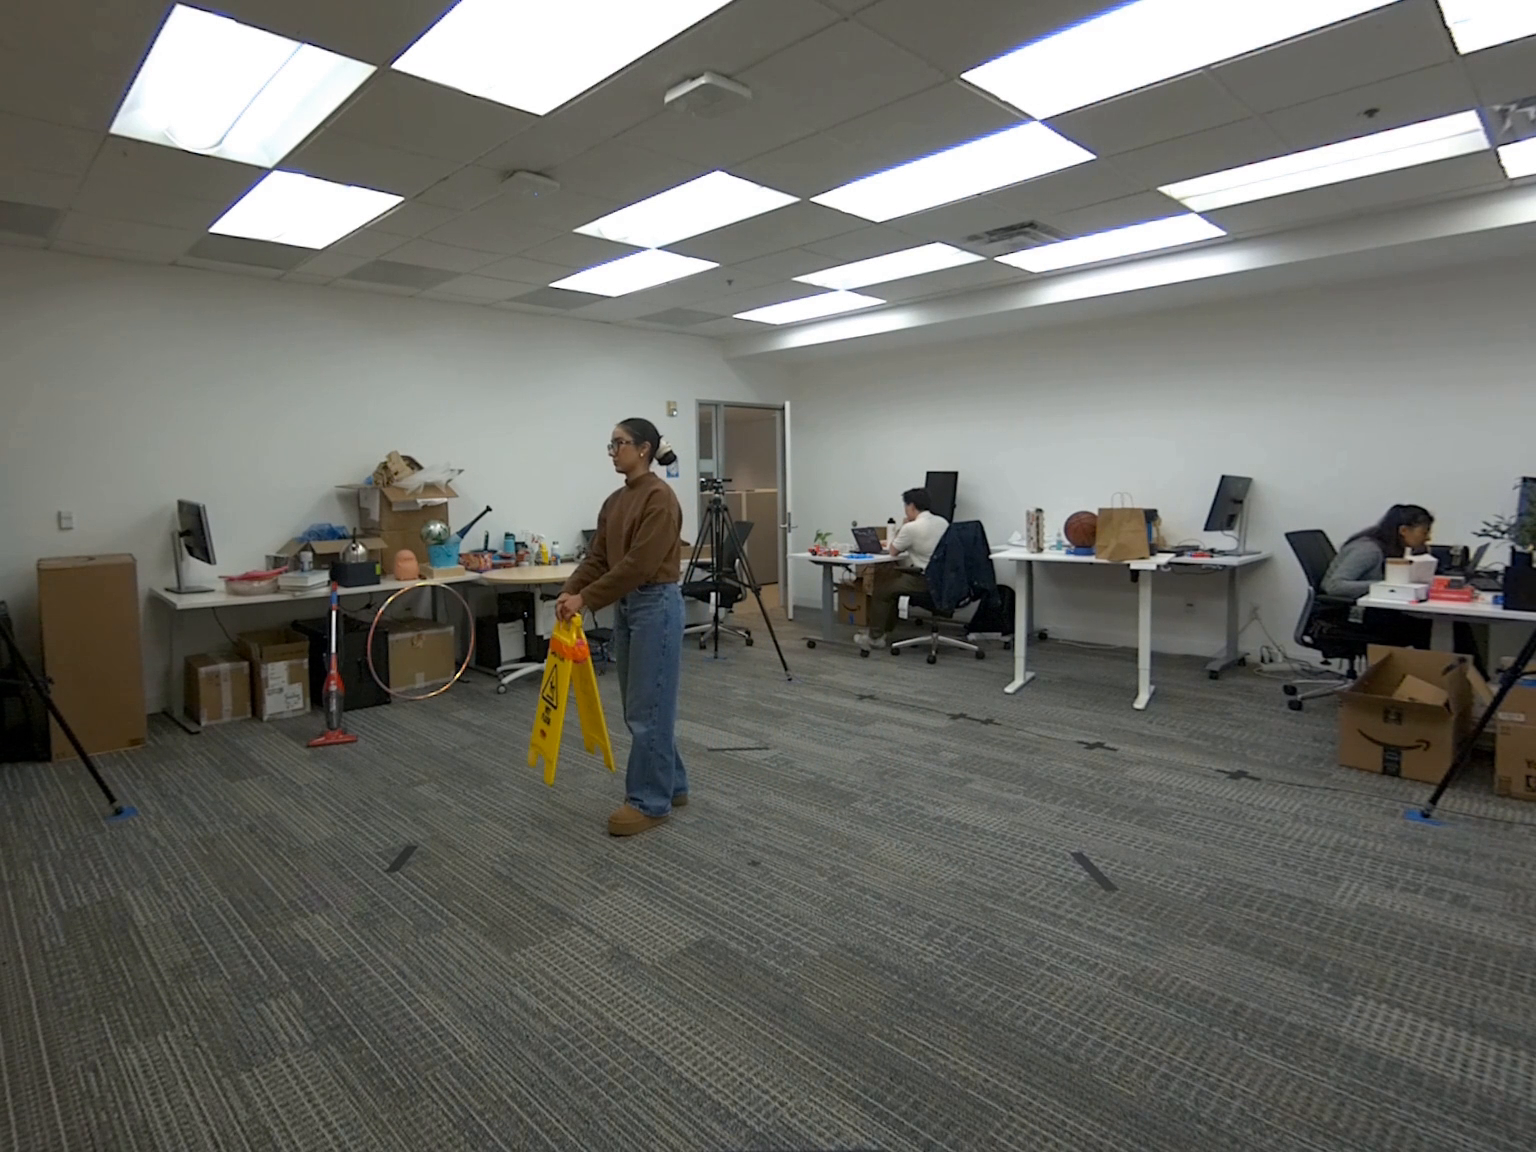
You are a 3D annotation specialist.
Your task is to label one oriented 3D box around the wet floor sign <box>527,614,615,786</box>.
[{"bbox_3d":[-0.781,0.451,3.384,0.283,0.641,0.291,-4,10,-33],"label":"wet floor sign"}]
